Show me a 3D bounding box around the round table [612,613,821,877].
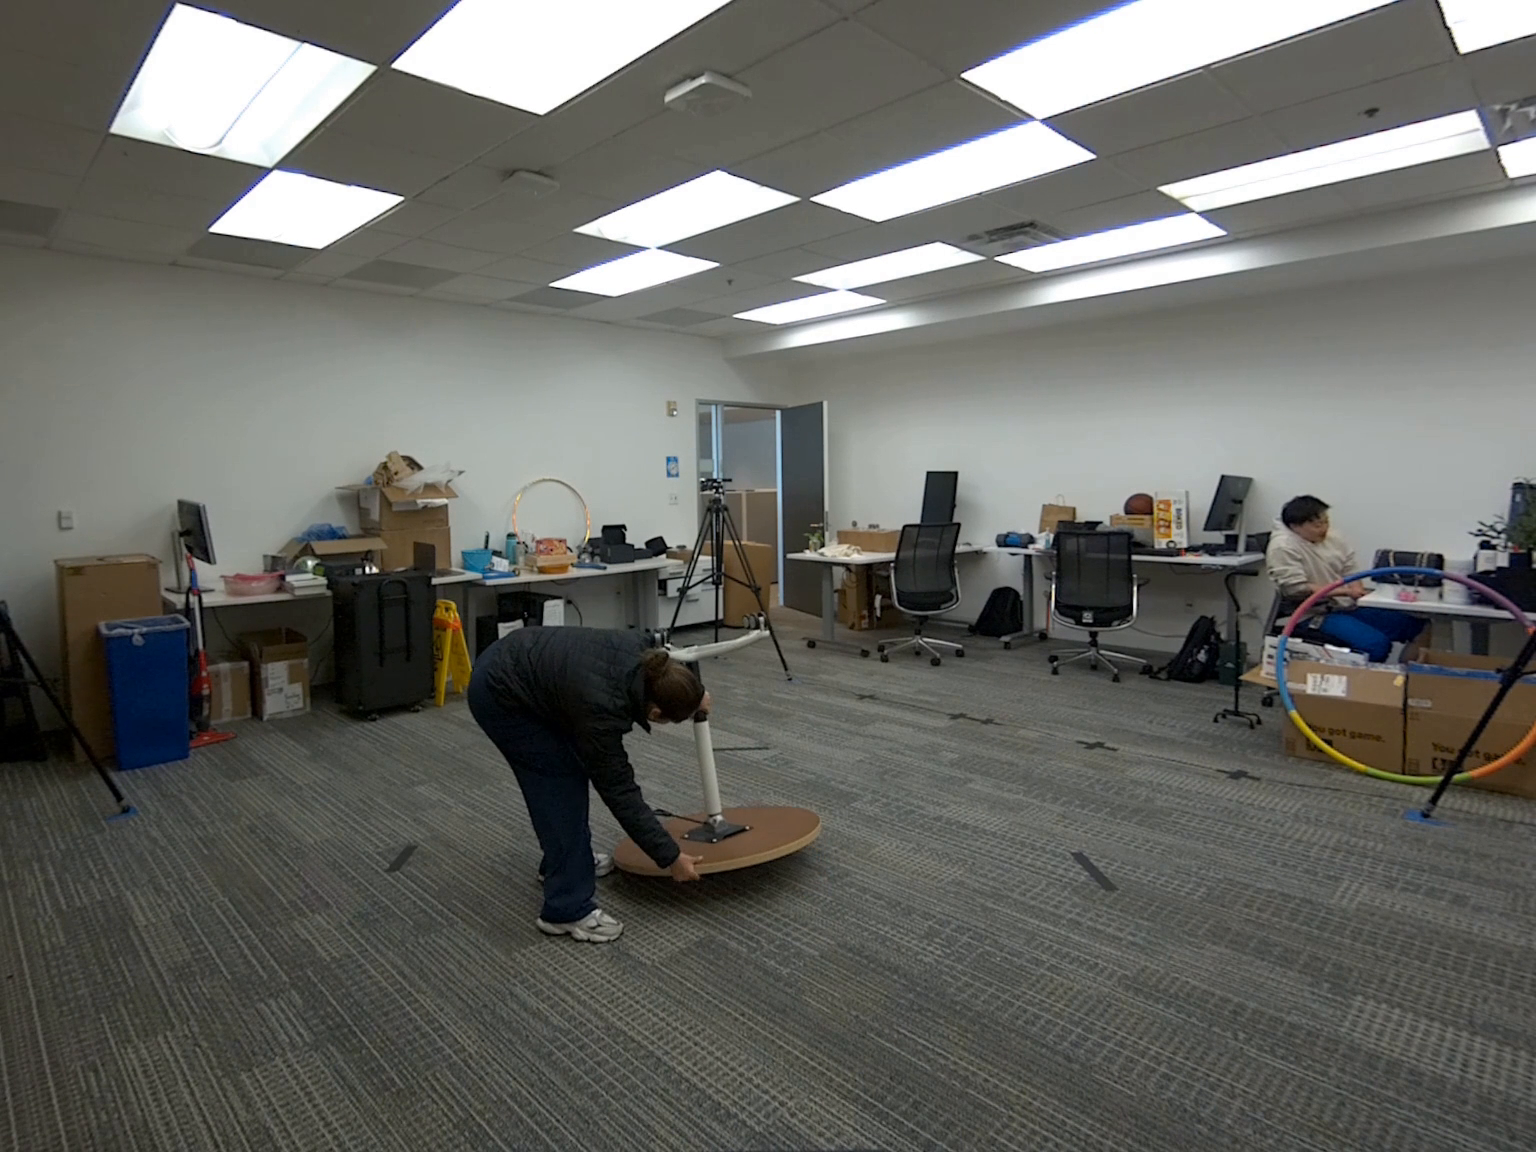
[{"bbox_3d":[-0.241,0.573,3.191,0.784,0.790,0.782,-8,-4,-2],"label":"round table"}]
